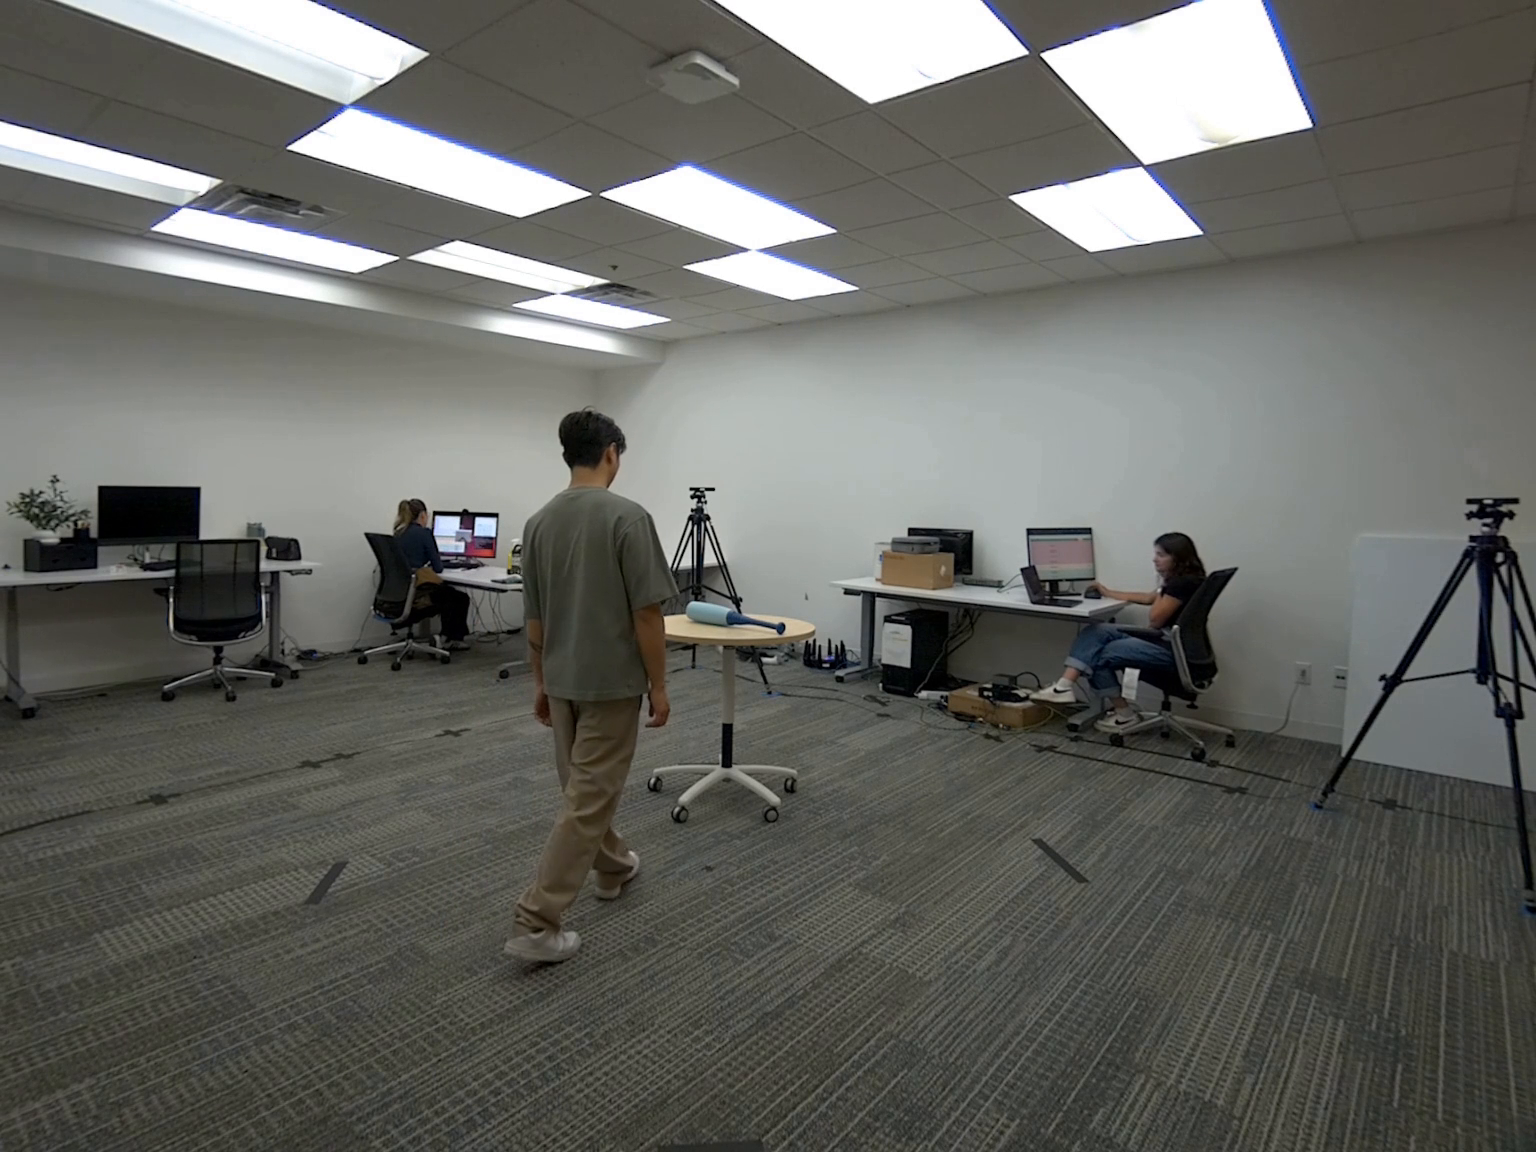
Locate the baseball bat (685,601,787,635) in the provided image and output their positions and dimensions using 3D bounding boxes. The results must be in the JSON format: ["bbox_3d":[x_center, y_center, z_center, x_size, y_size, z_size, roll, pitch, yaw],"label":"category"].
[{"bbox_3d":[-0.160,0.185,3.730,0.562,0.088,0.086,8,8,41],"label":"baseball bat"}]
